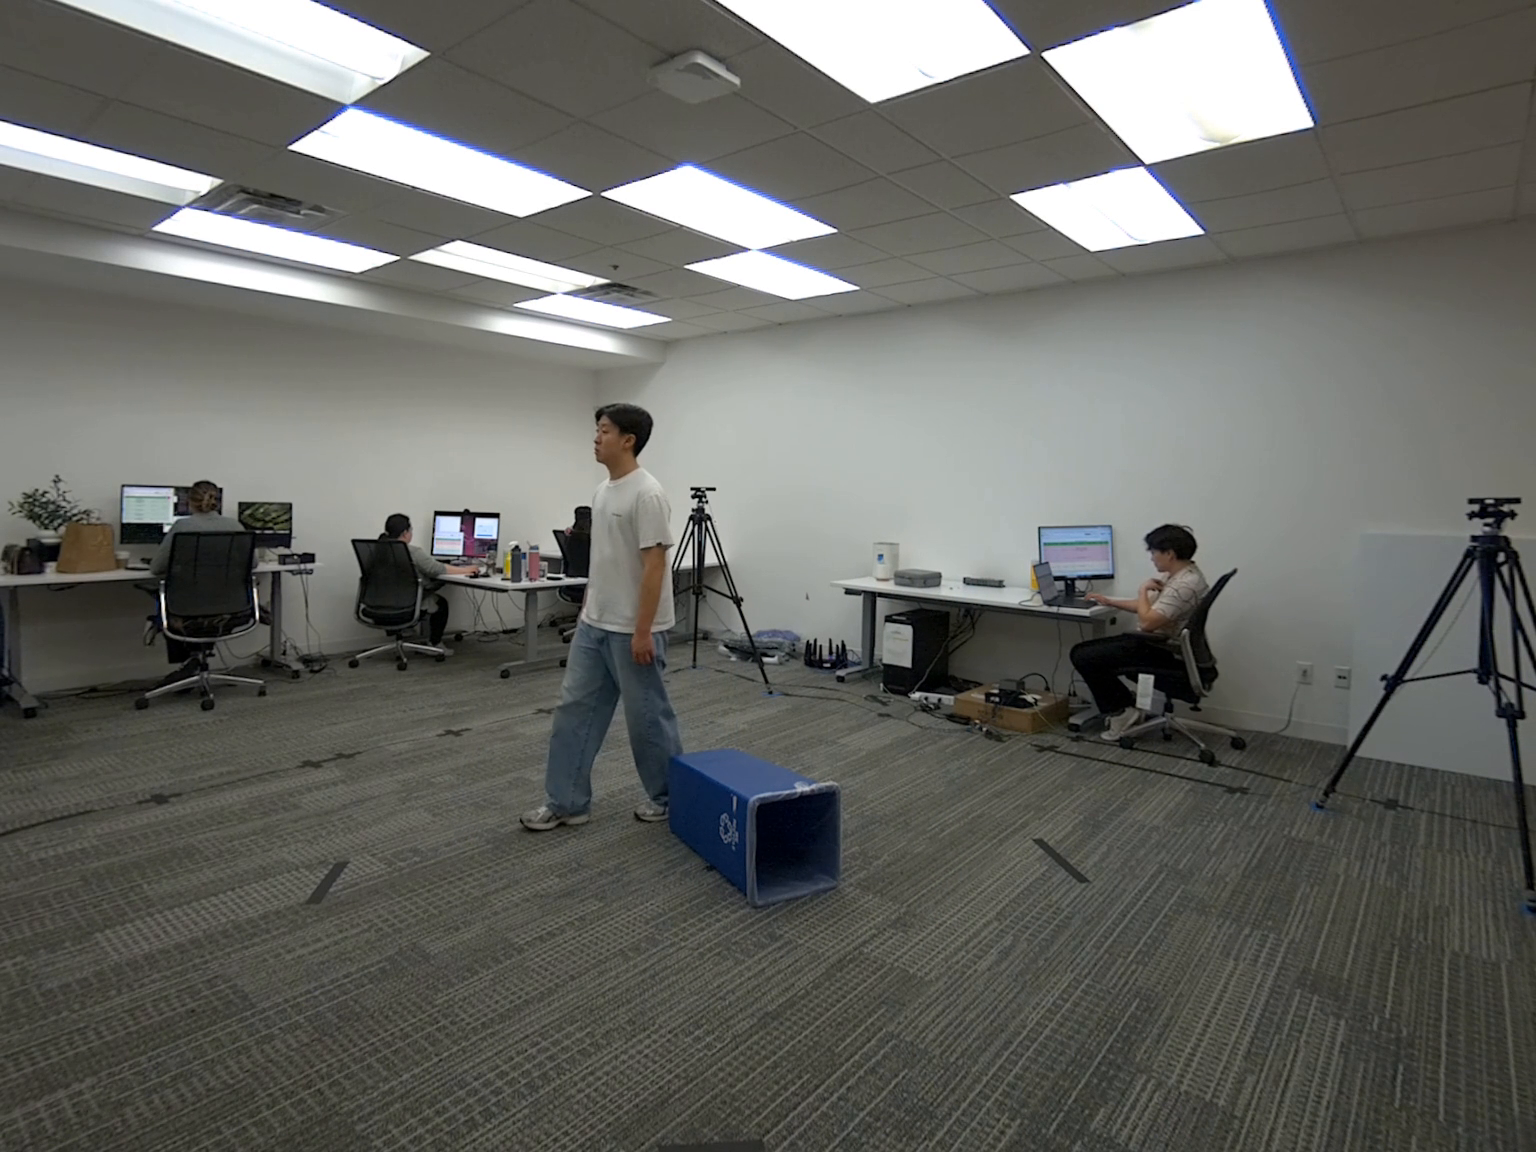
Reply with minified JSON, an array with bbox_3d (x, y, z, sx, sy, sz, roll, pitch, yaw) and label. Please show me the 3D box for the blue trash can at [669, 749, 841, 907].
[{"bbox_3d":[-0.099,0.895,3.194,0.364,0.377,0.734,-1,3,-32],"label":"blue trash can"}]
